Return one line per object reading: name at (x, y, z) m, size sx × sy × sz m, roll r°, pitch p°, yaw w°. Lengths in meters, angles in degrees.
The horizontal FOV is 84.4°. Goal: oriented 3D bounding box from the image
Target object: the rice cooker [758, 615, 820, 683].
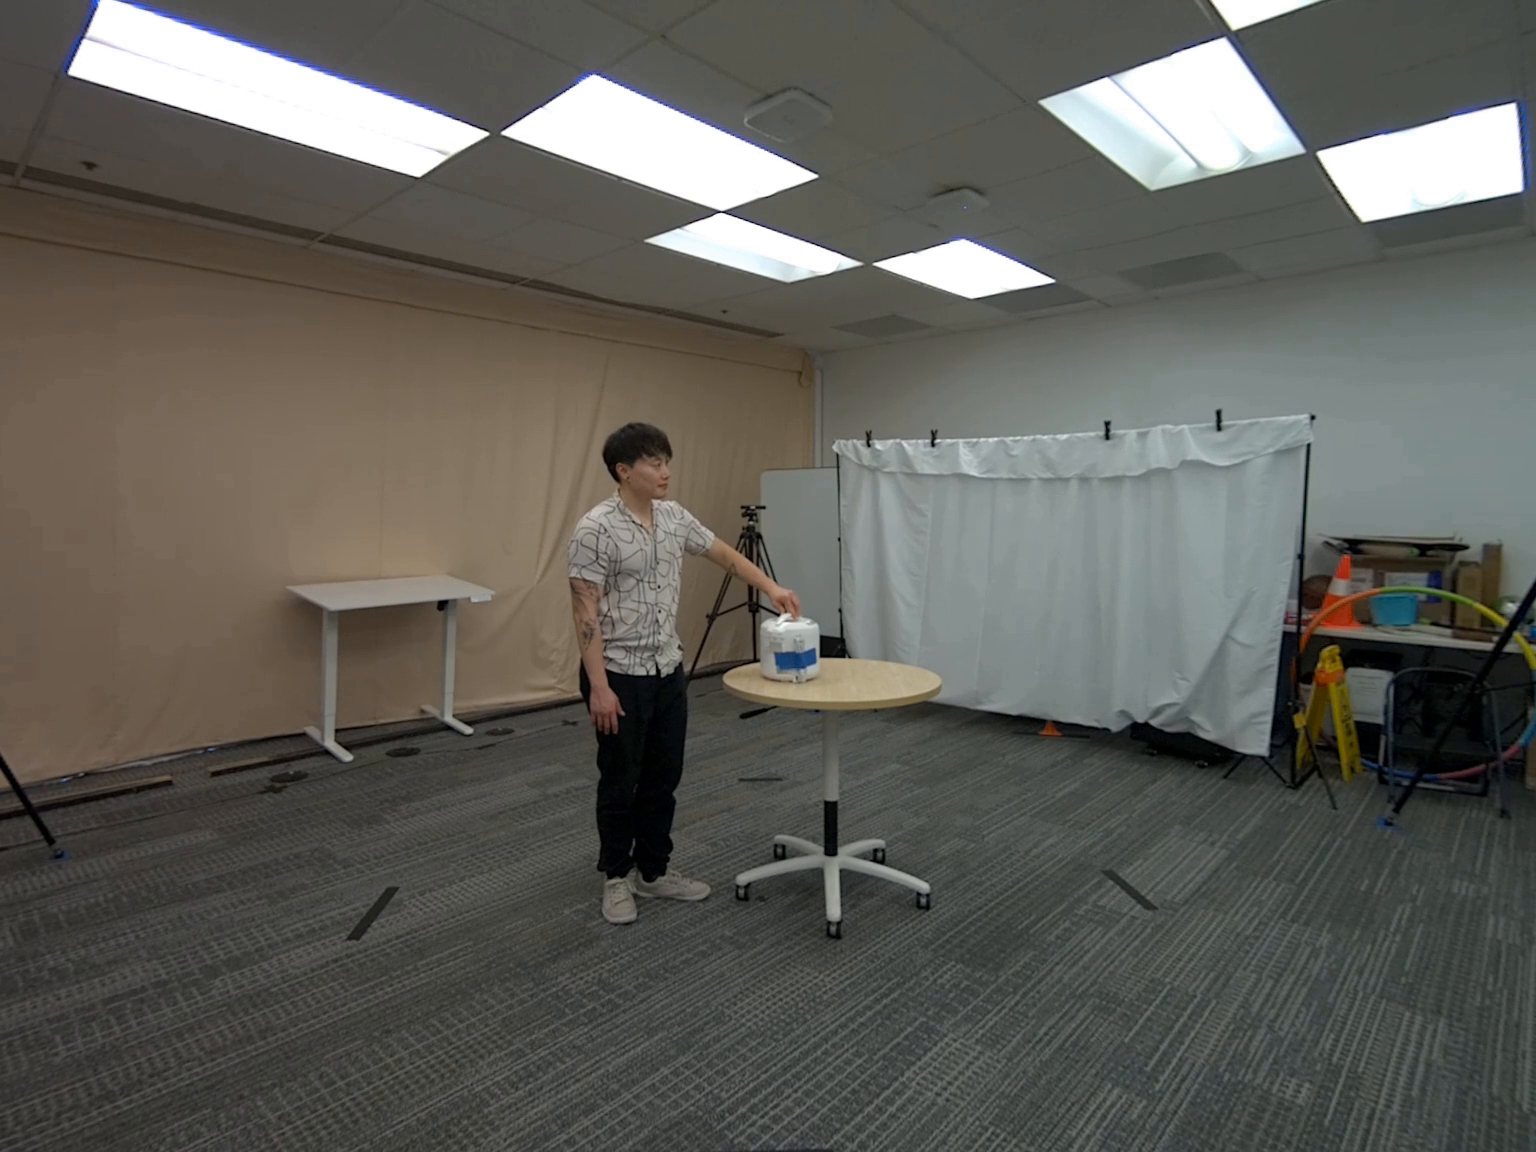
rice cooker at (0.077, 0.245, 2.982) m, size 0.224 × 0.232 × 0.214 m, roll 2°, pitch 3°, yaw 30°
